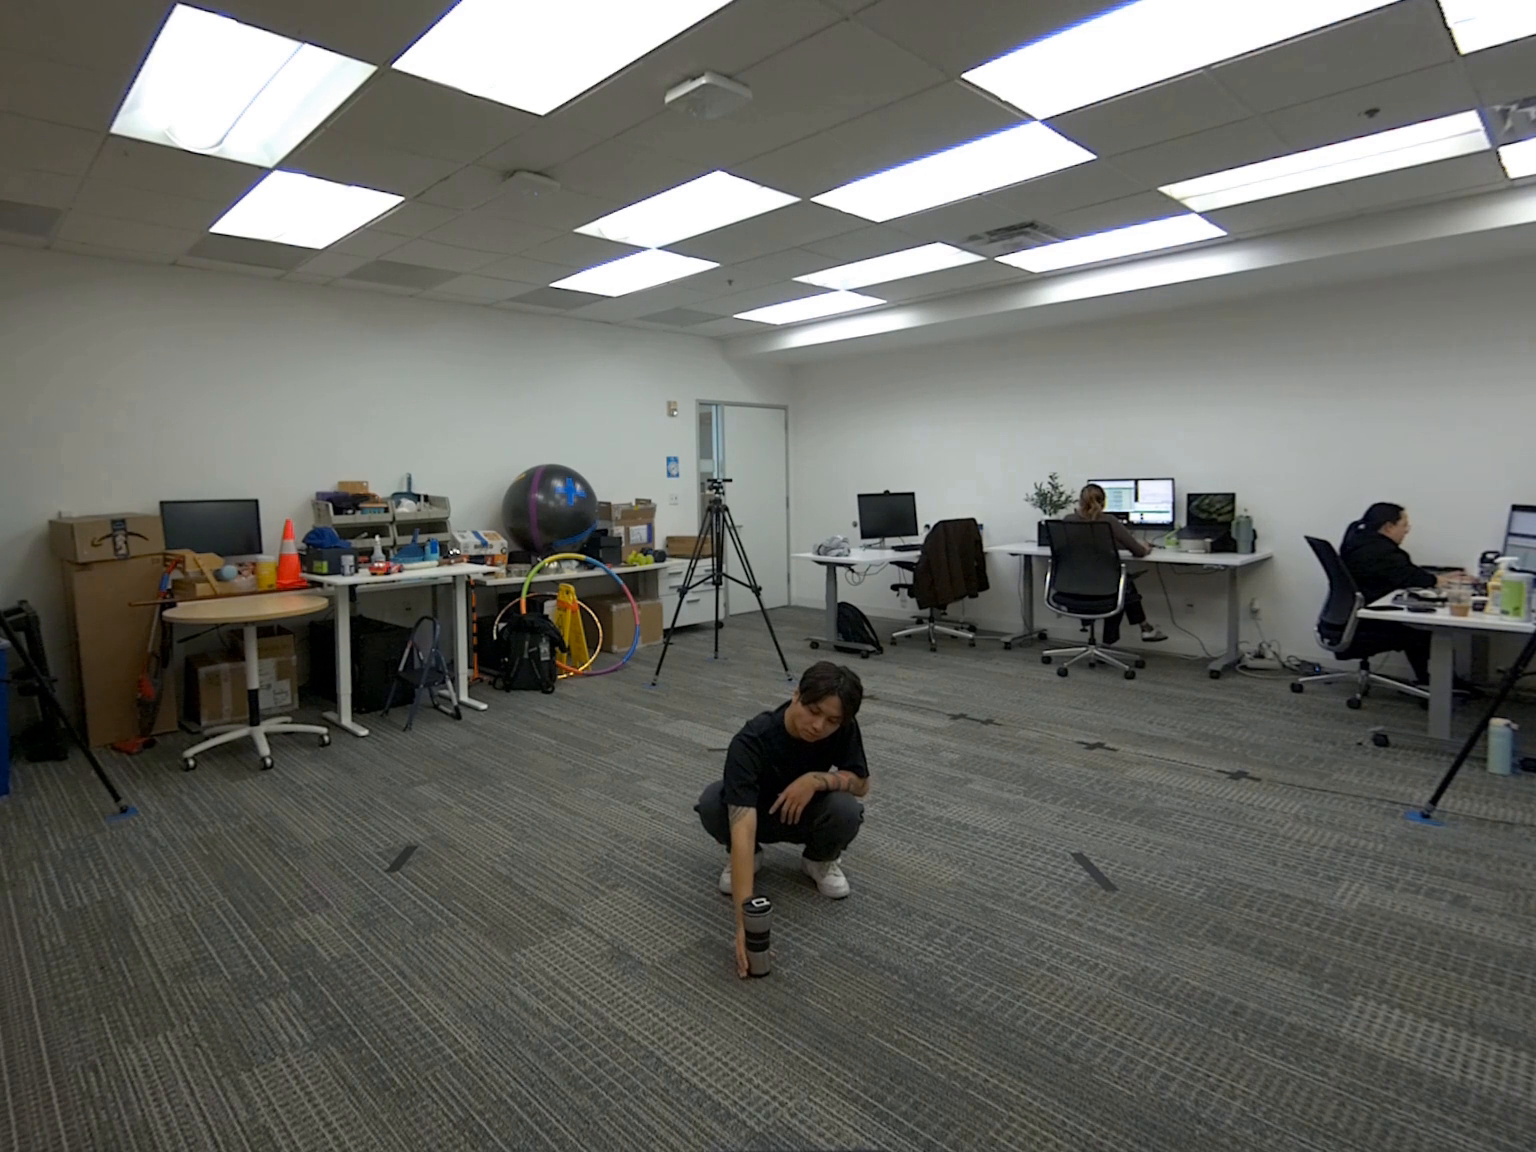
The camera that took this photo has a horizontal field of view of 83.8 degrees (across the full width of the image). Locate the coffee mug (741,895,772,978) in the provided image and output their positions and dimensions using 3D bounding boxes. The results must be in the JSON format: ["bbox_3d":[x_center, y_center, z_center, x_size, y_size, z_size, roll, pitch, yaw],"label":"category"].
[{"bbox_3d":[-0.008,1.030,2.434,0.090,0.202,0.119,-3,6,39],"label":"coffee mug"}]
